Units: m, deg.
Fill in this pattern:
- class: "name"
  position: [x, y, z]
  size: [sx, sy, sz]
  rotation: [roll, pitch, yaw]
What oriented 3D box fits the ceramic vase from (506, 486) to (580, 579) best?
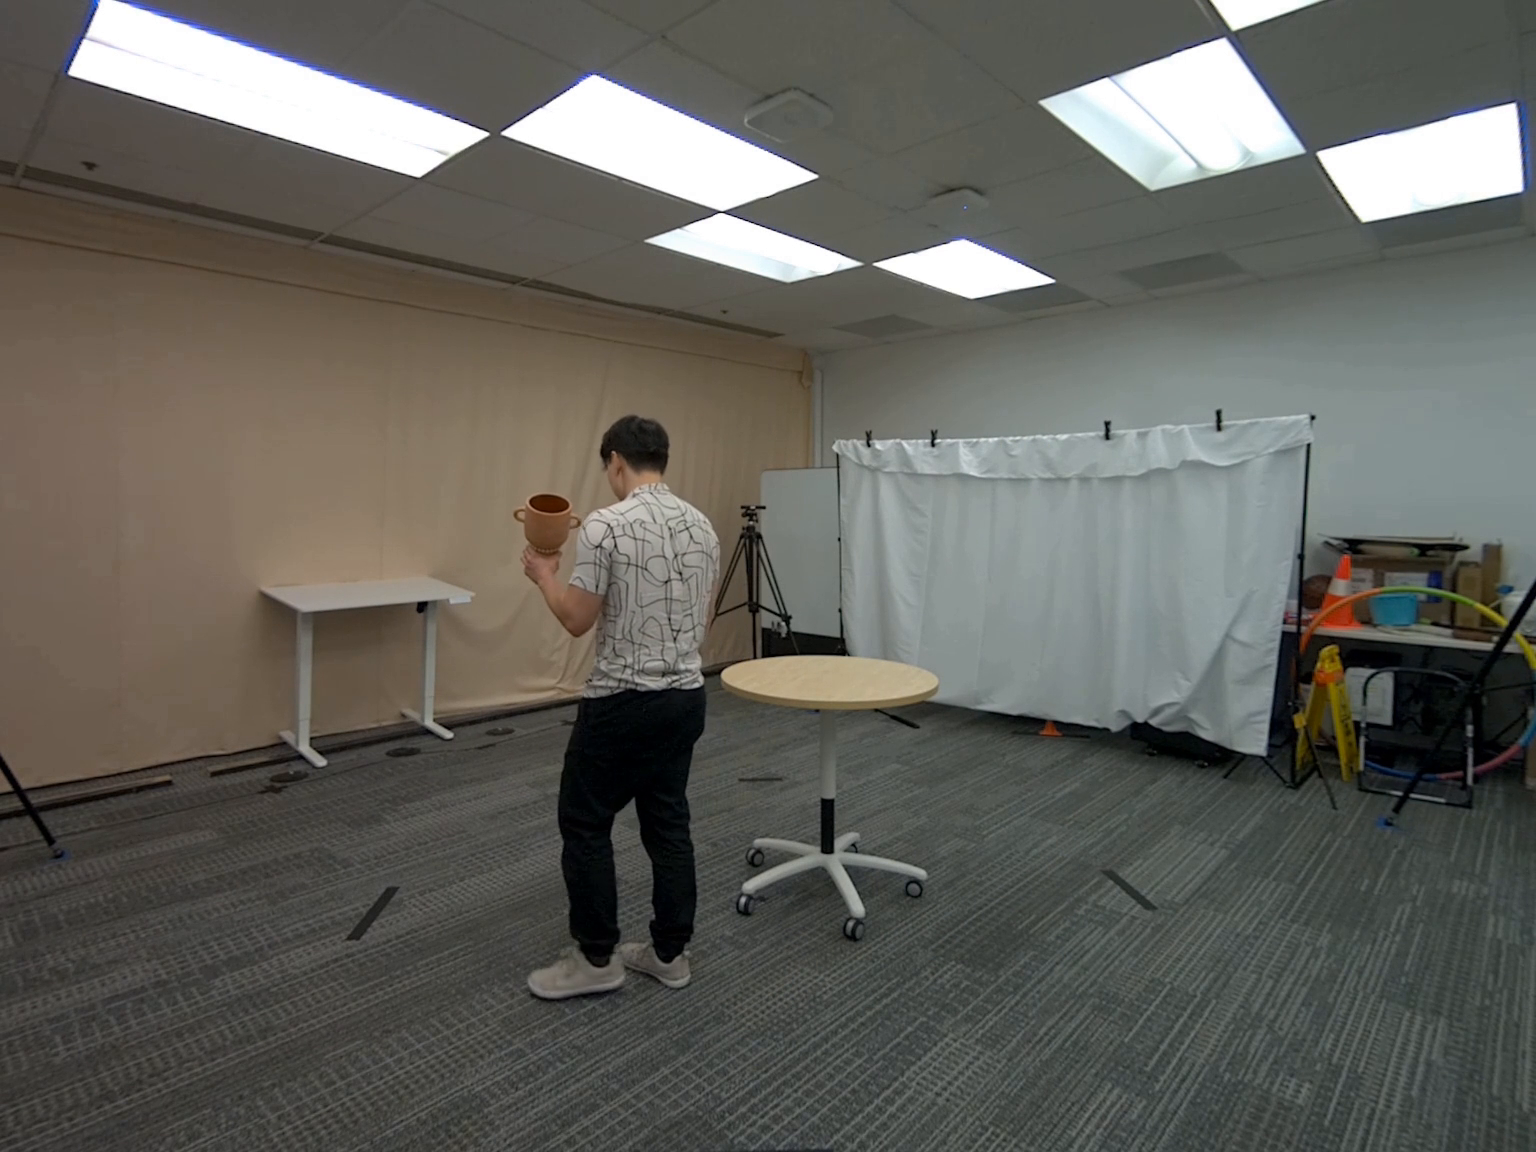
- class: "ceramic vase"
  position: [-0.668, -0.120, 2.506]
  size: [0.164, 0.217, 0.132]
  rotation: [27, 34, 27]
